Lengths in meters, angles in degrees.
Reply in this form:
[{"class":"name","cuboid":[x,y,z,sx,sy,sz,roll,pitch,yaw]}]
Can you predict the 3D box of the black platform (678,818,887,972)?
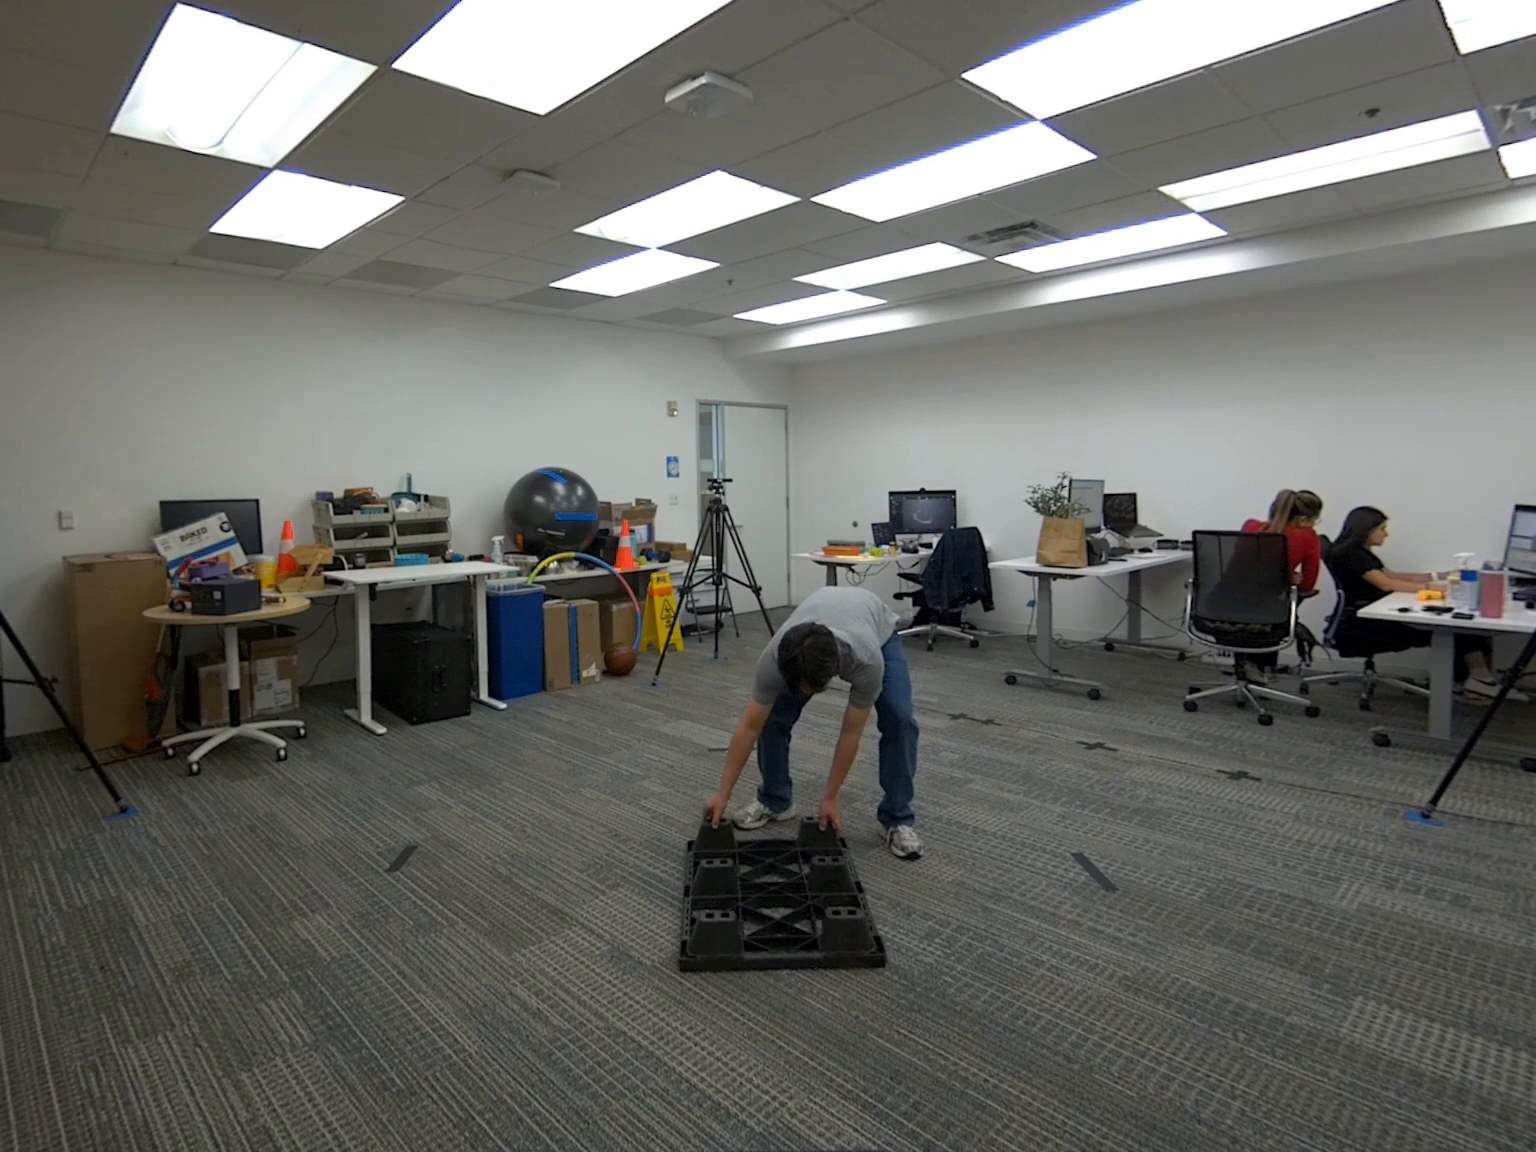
[{"class":"black platform","cuboid":[0.015,1.006,2.834,0.604,0.143,0.811,-1,6,-3]}]
